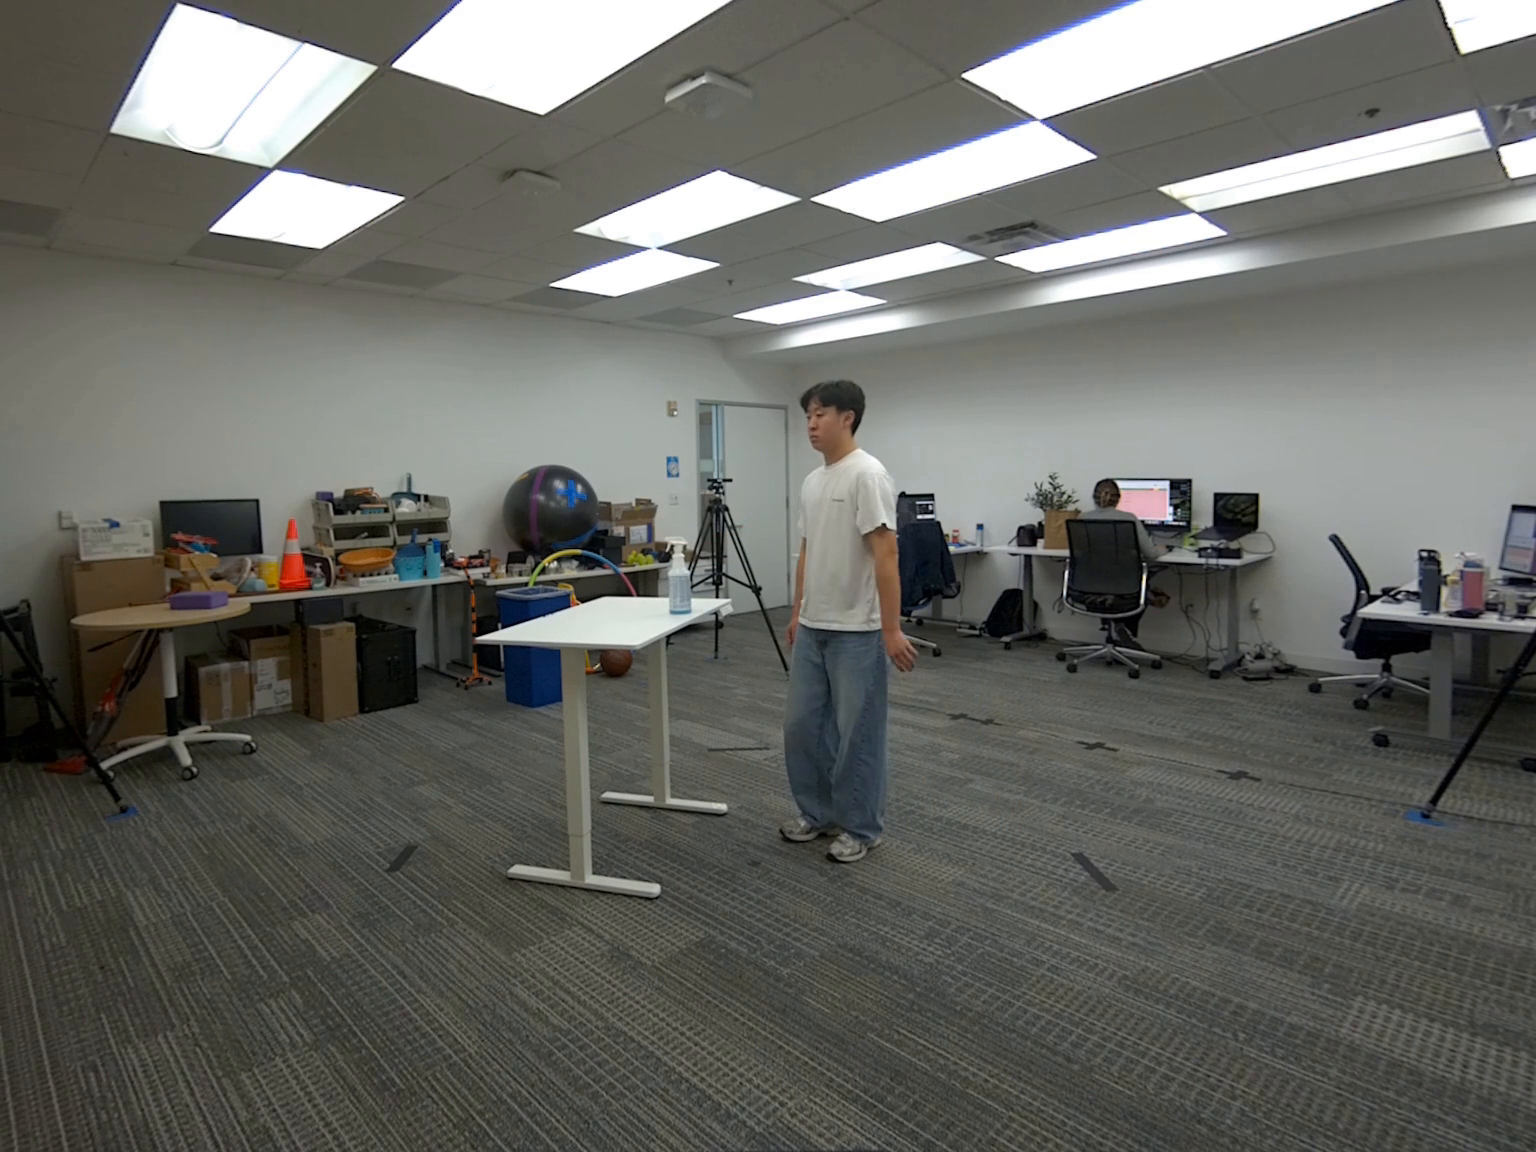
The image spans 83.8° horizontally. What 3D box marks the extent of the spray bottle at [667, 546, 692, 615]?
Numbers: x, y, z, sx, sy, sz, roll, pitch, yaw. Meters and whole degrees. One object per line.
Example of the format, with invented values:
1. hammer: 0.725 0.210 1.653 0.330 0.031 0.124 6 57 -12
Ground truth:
1. spray bottle: -0.342 -0.004 3.308 0.090 0.296 0.087 -3 4 3
